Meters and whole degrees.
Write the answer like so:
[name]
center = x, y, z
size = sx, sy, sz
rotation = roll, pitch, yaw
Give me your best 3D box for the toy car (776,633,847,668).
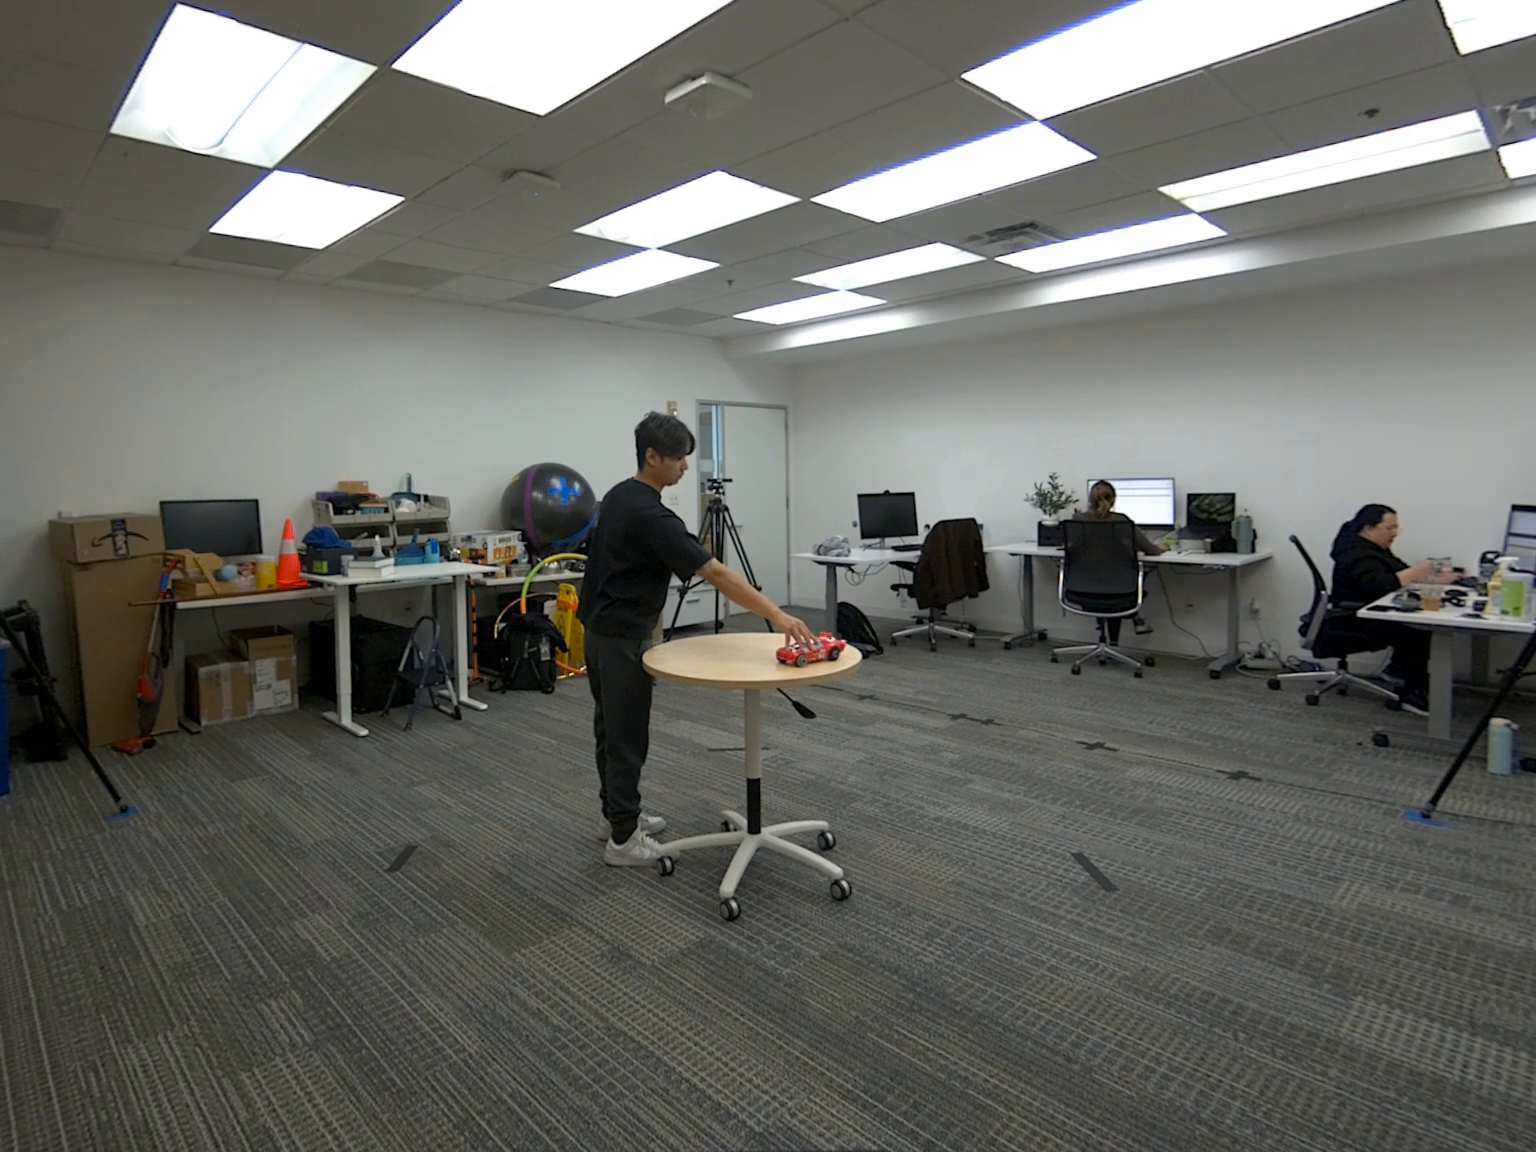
[toy car]
center = 0.160, 0.256, 2.880
size = 0.250, 0.082, 0.134
rotation = -20, 16, -33
